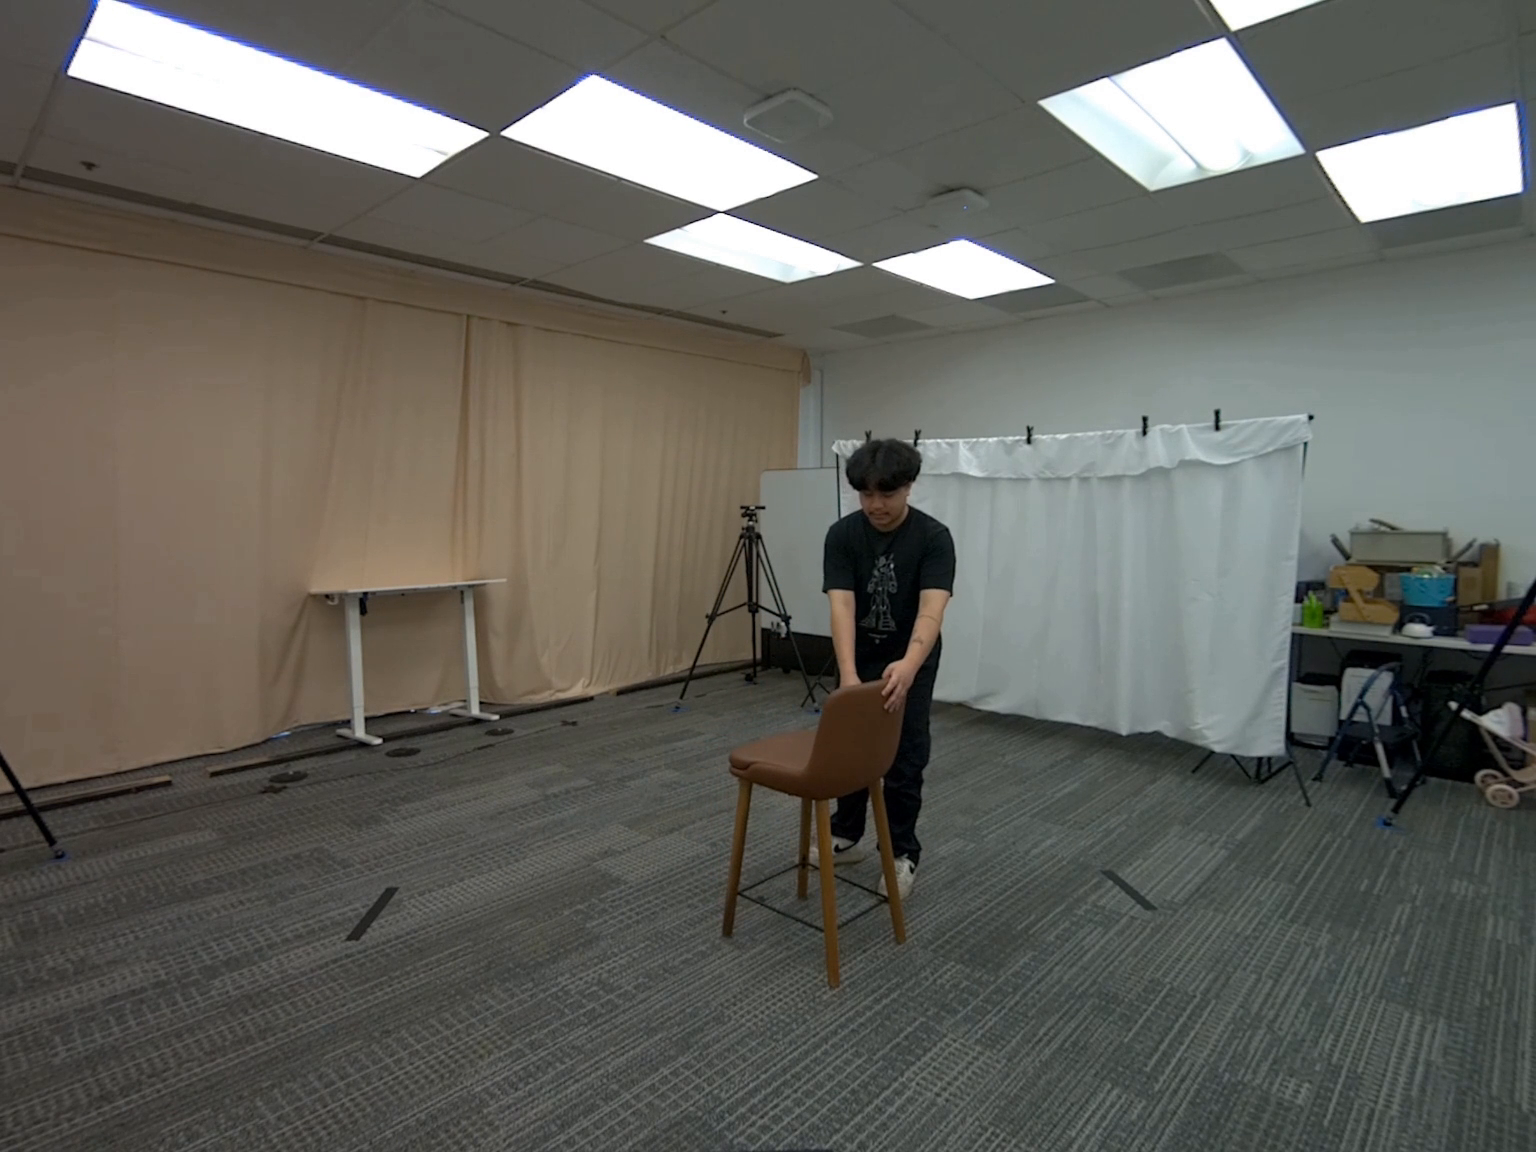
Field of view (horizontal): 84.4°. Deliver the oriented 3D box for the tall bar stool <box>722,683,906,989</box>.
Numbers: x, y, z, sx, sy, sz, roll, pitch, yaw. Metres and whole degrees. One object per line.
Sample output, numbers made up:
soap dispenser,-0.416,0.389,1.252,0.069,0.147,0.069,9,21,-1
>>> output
tall bar stool,0.155,0.729,2.682,0.484,0.887,0.442,6,7,44
